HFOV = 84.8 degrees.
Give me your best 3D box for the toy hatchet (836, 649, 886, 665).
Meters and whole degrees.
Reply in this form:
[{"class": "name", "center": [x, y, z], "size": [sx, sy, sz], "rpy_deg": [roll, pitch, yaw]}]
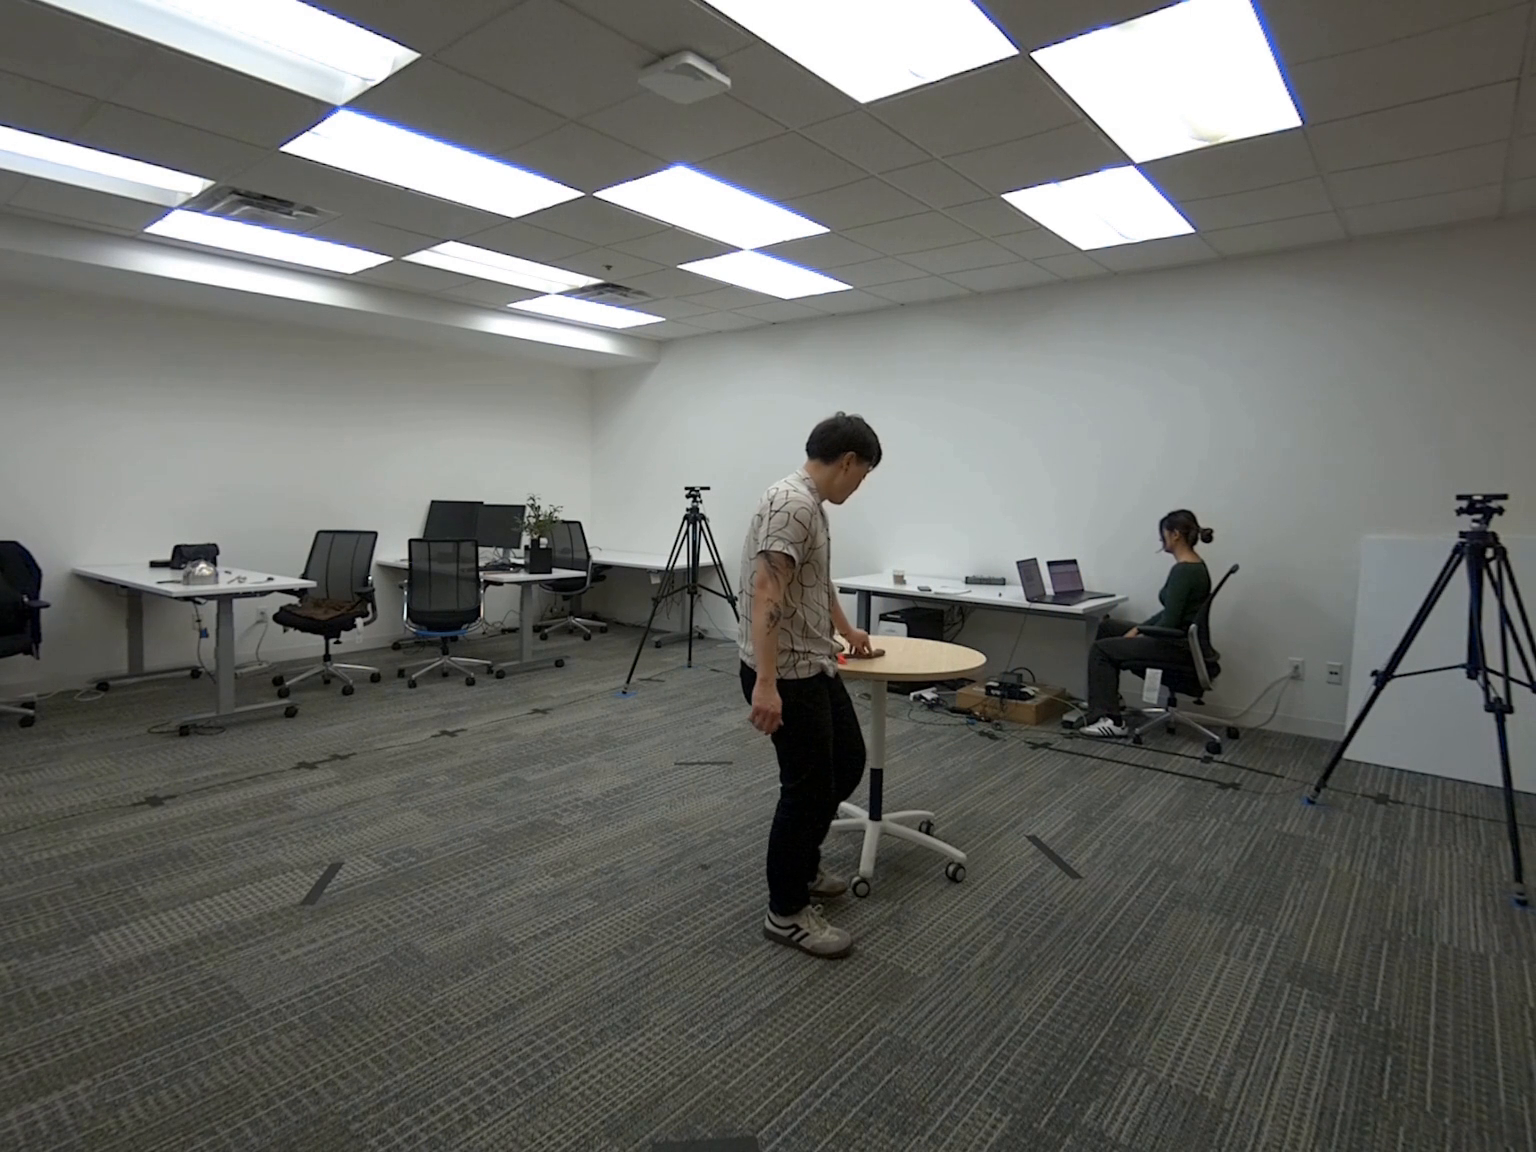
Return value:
[{"class": "toy hatchet", "center": [0.305, 0.277, 3.090], "size": [0.136, 0.029, 0.262], "rpy_deg": [19, 16, 38]}]
